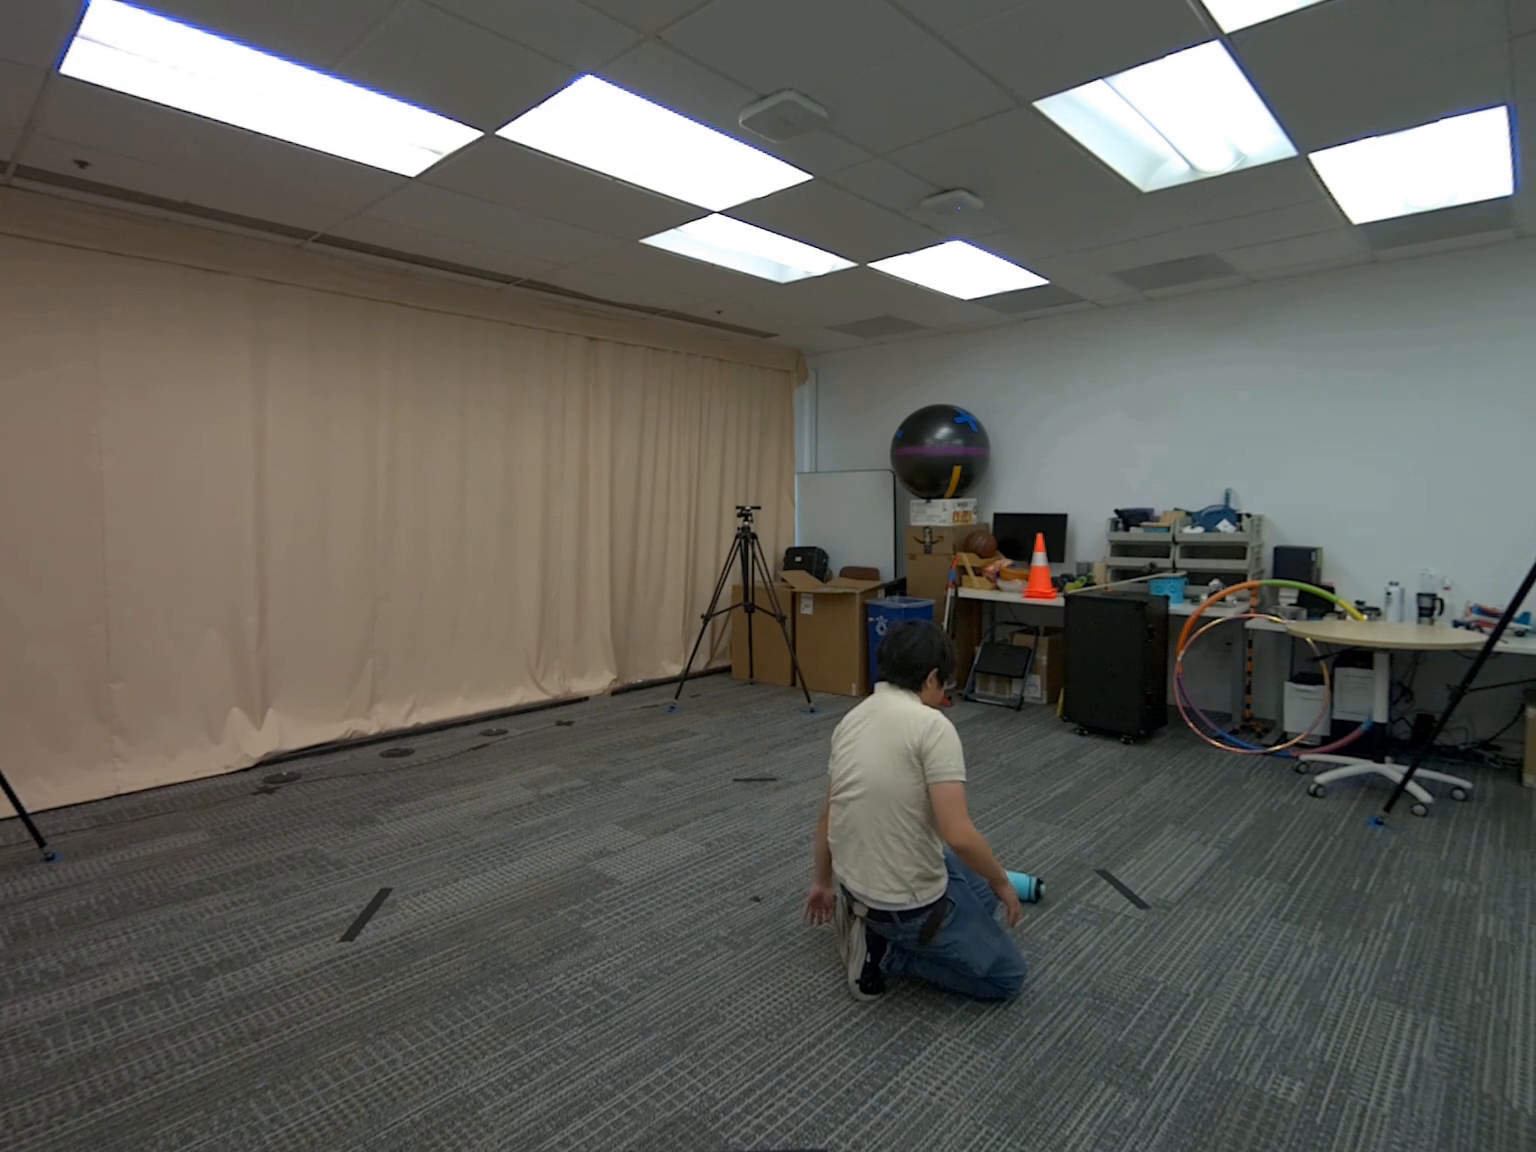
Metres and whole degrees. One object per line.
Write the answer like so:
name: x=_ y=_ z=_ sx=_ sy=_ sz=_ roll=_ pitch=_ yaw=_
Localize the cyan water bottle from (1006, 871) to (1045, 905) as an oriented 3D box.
cyan water bottle: x=0.840 y=1.093 z=2.993 sx=0.290 sy=0.092 sz=0.090 roll=2 pitch=4 yaw=23
